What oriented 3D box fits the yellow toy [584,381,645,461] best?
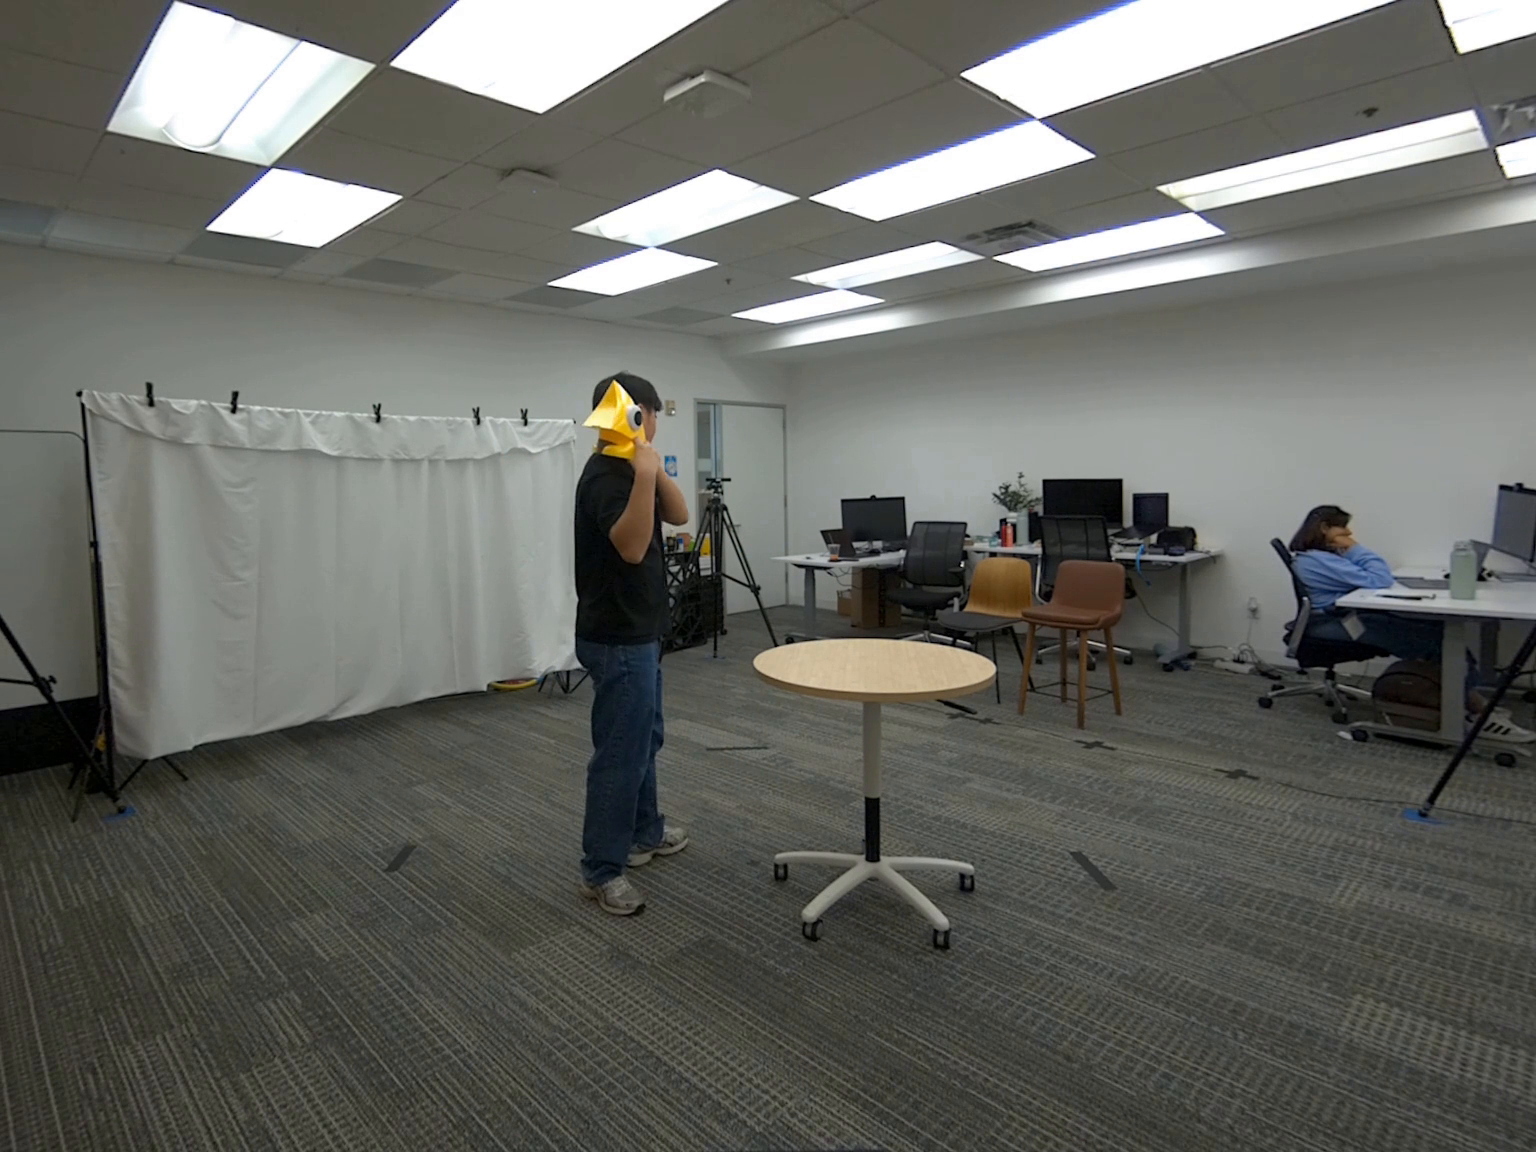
[{"bbox_3d":[-0.458,-0.487,2.693,0.187,0.230,0.212,7,5,-35],"label":"yellow toy"}]
